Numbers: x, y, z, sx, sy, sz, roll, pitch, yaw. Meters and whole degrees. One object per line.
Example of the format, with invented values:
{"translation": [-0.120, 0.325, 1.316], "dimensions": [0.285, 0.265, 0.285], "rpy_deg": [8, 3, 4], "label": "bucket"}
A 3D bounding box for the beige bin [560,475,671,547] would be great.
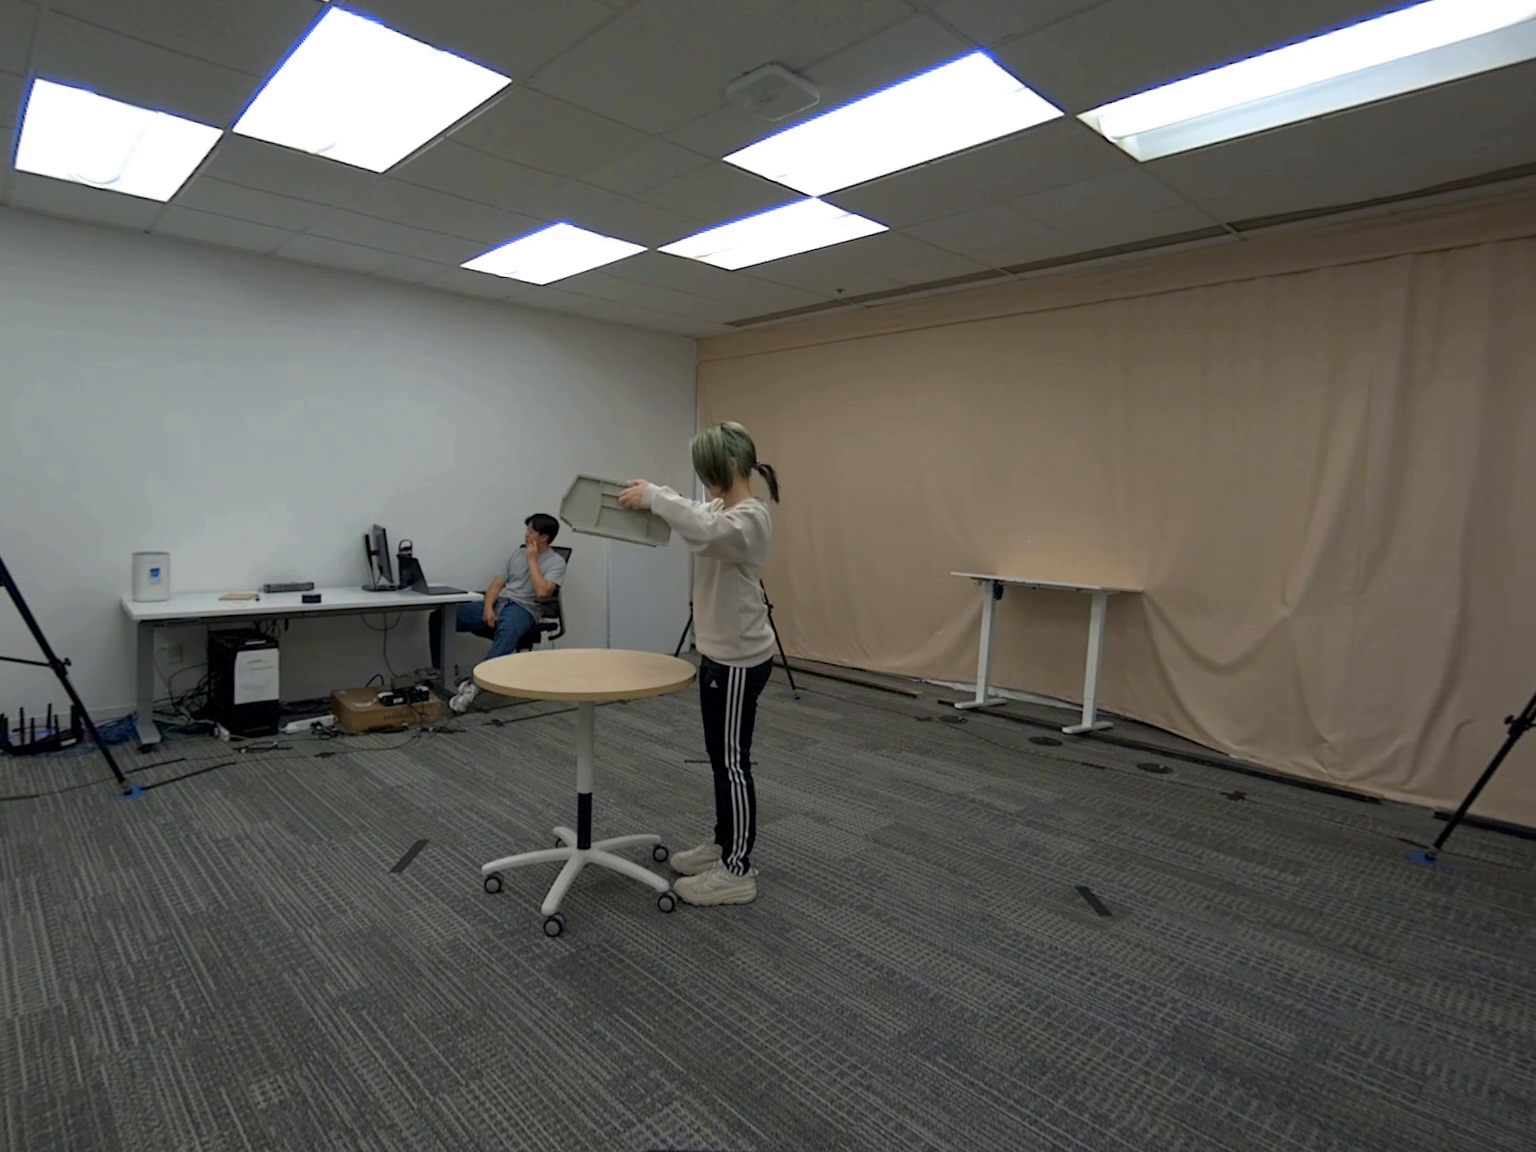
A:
{"translation": [-0.530, -0.214, 2.912], "dimensions": [0.373, 0.189, 0.426], "rpy_deg": [12, -2, -13], "label": "beige bin"}
